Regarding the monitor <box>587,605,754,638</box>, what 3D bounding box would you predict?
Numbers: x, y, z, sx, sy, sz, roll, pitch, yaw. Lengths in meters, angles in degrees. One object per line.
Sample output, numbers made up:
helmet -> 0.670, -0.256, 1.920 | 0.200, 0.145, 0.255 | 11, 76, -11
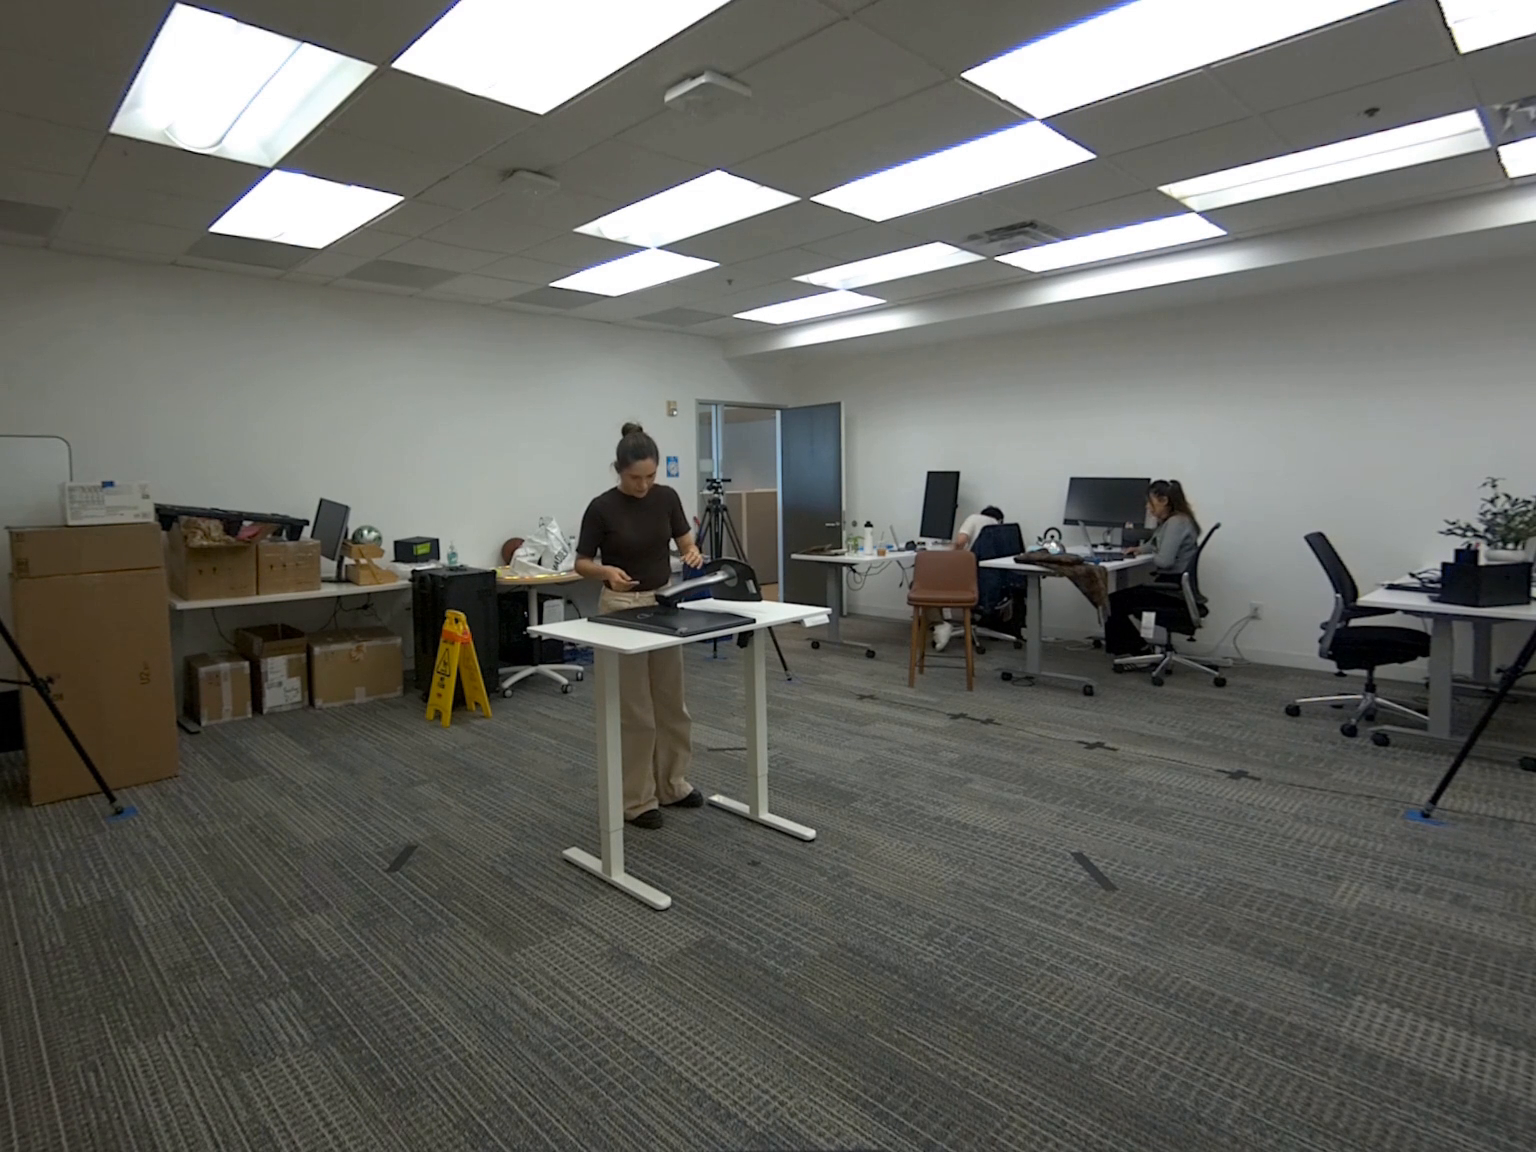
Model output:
monitor -> -0.300, 0.104, 3.153 | 0.555, 0.184, 0.515 | 1, 21, 45
